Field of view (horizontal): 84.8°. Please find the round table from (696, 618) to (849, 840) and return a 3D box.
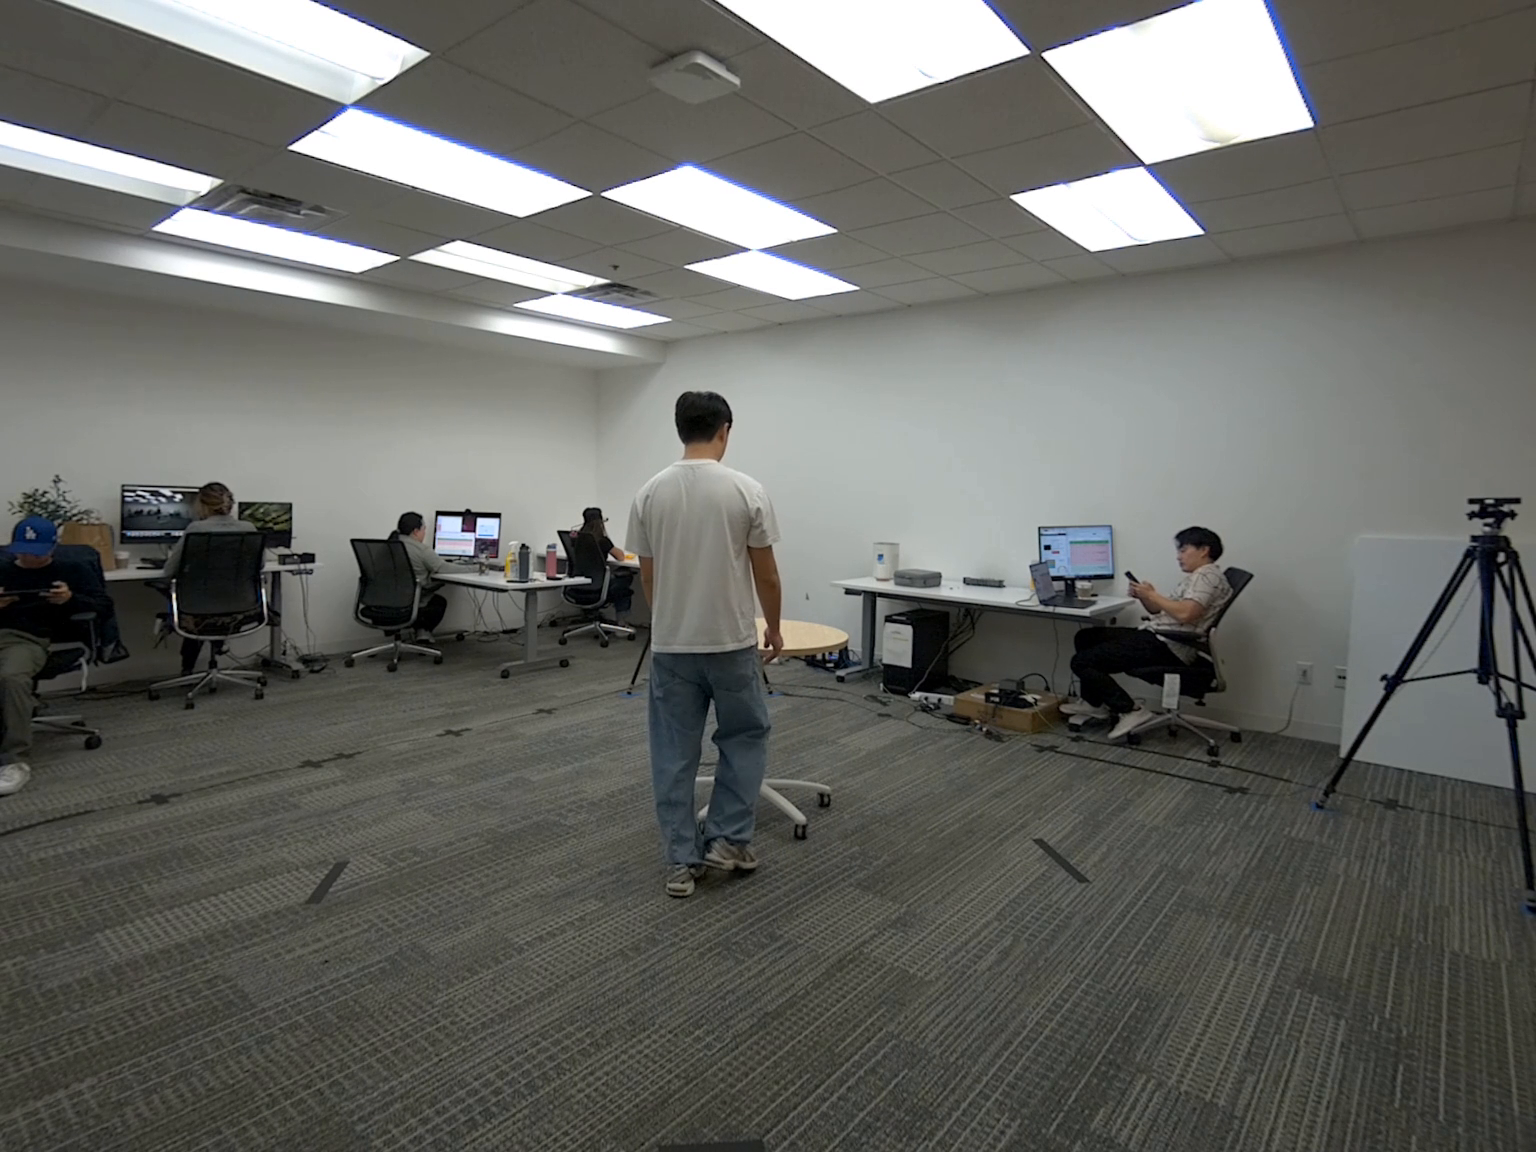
[{"bbox_3d":[-0.062,0.628,3.642,0.763,0.791,0.768,2,4,-2],"label":"round table"}]
